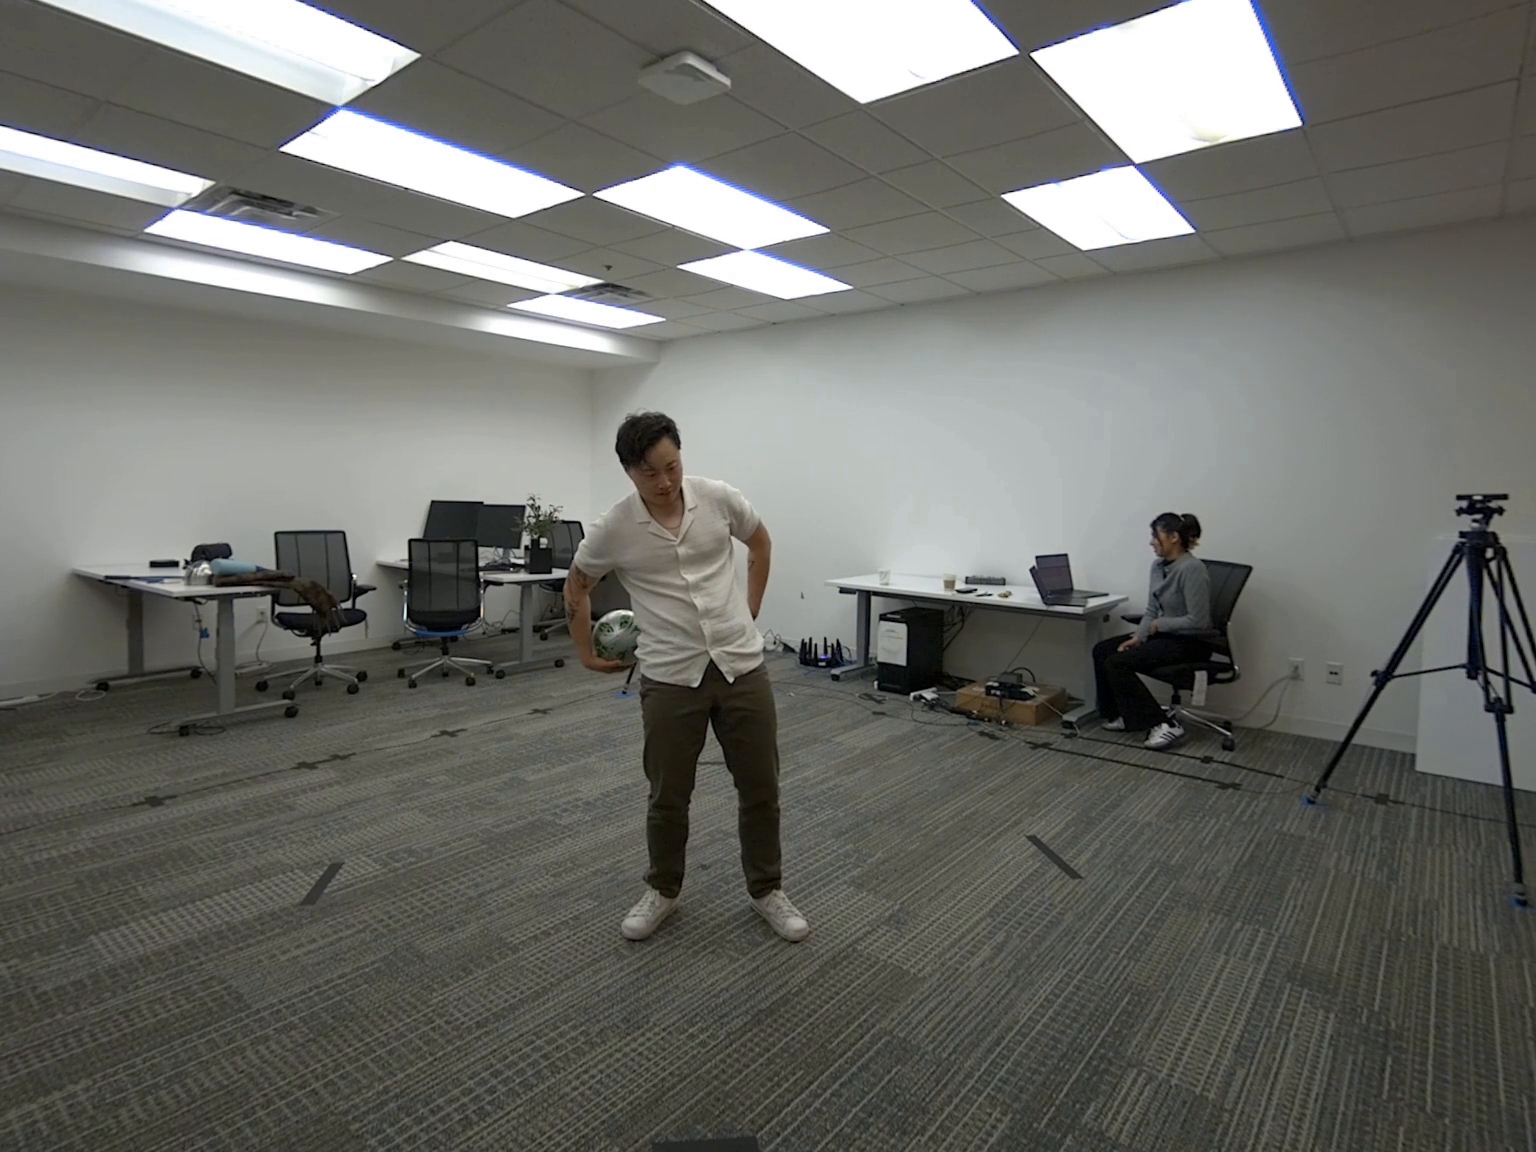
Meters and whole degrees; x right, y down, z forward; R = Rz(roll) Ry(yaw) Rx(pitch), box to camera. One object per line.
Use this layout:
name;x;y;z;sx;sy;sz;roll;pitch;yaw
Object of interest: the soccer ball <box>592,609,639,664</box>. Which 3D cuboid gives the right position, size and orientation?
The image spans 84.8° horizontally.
soccer ball;-0.493;0.203;2.810;0.187;0.187;0.188;1;4;-2
